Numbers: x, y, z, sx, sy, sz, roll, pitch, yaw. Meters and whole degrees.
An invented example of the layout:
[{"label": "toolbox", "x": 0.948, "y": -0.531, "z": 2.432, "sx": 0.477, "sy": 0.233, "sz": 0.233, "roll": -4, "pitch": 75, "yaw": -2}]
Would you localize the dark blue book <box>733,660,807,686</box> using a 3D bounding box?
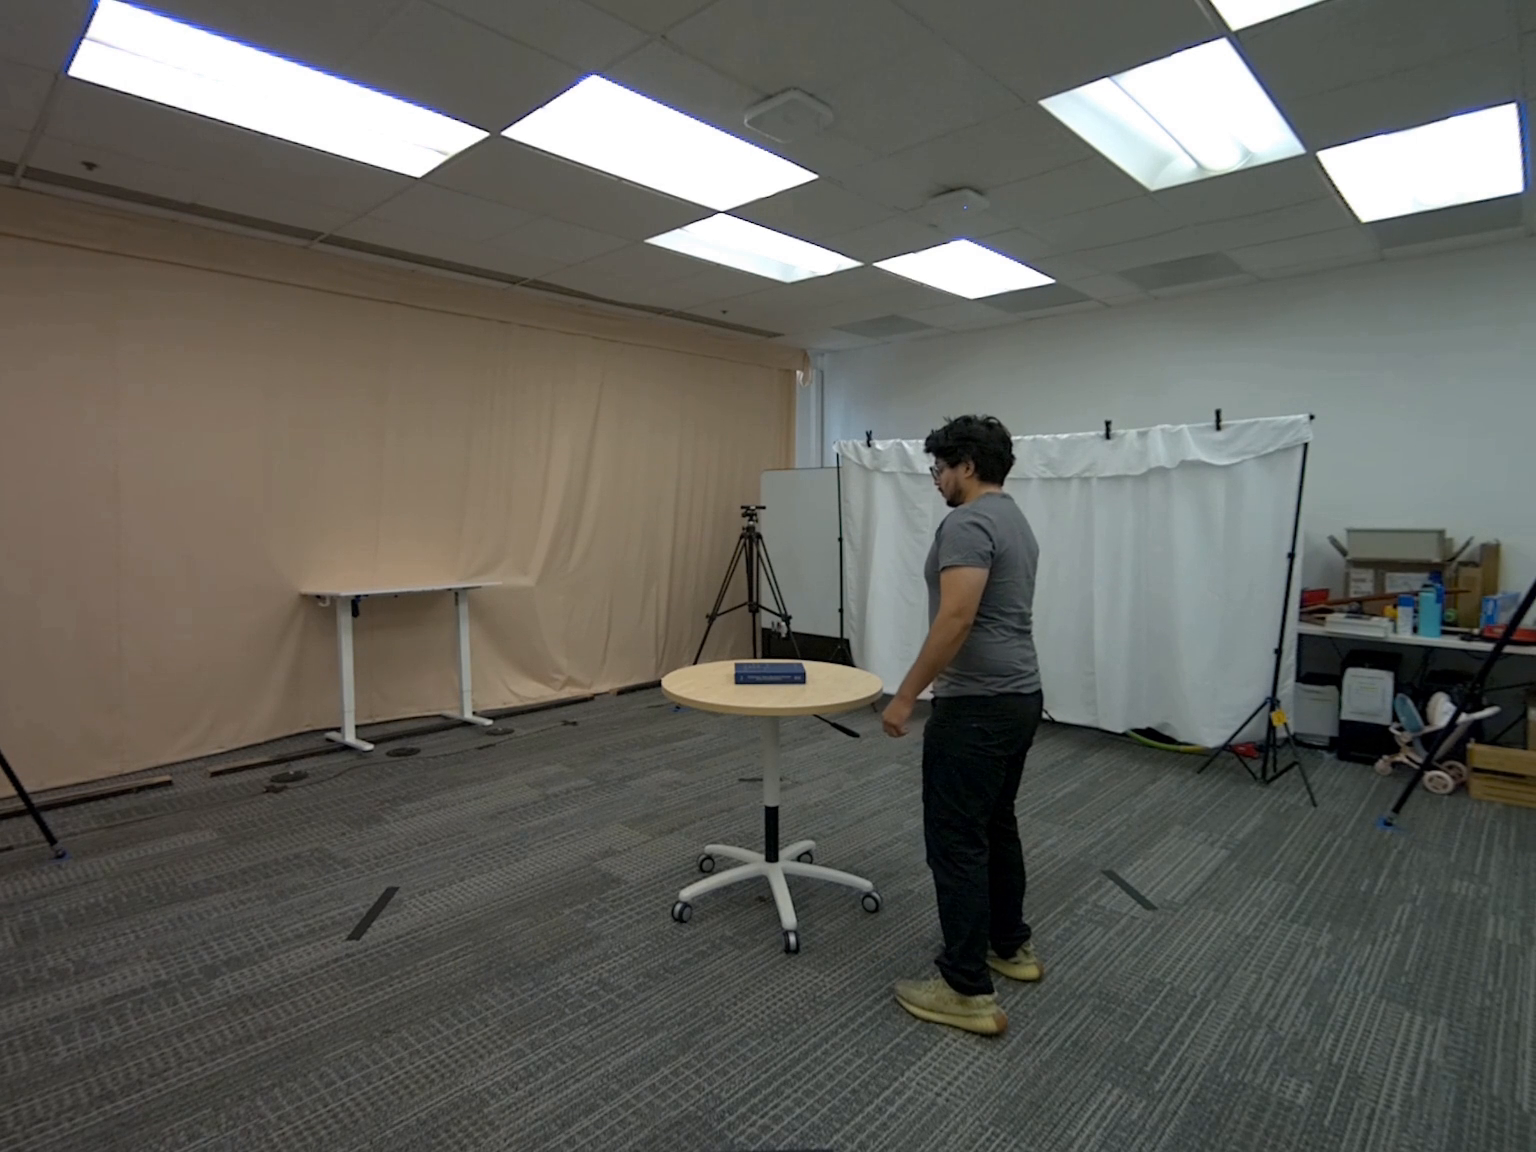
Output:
[{"label": "dark blue book", "x": 0.008, "y": 0.345, "z": 2.944, "sx": 0.245, "sy": 0.045, "sz": 0.164, "roll": 0, "pitch": 4, "yaw": -1}]
